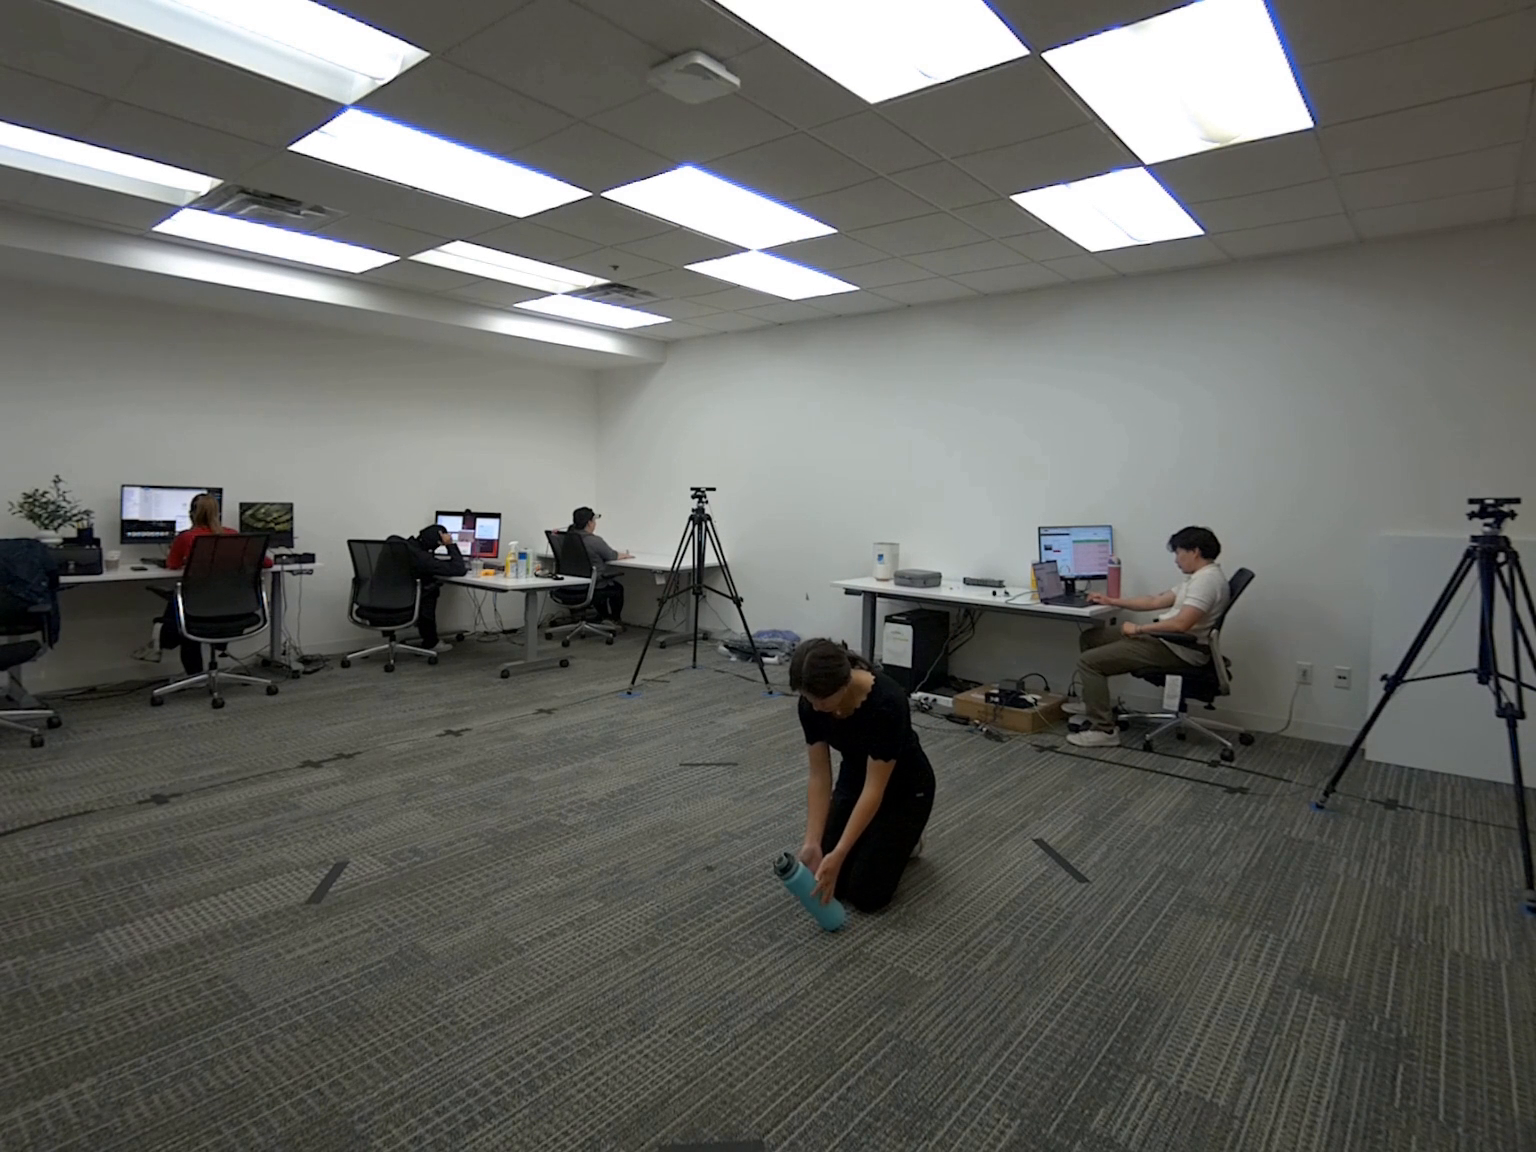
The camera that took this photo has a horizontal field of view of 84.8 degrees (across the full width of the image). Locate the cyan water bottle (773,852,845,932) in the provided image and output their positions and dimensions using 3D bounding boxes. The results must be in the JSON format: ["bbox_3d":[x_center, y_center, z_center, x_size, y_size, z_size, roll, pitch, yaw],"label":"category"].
[{"bbox_3d":[0.113,0.989,2.680,0.092,0.280,0.093,-38,9,7],"label":"cyan water bottle"}]
